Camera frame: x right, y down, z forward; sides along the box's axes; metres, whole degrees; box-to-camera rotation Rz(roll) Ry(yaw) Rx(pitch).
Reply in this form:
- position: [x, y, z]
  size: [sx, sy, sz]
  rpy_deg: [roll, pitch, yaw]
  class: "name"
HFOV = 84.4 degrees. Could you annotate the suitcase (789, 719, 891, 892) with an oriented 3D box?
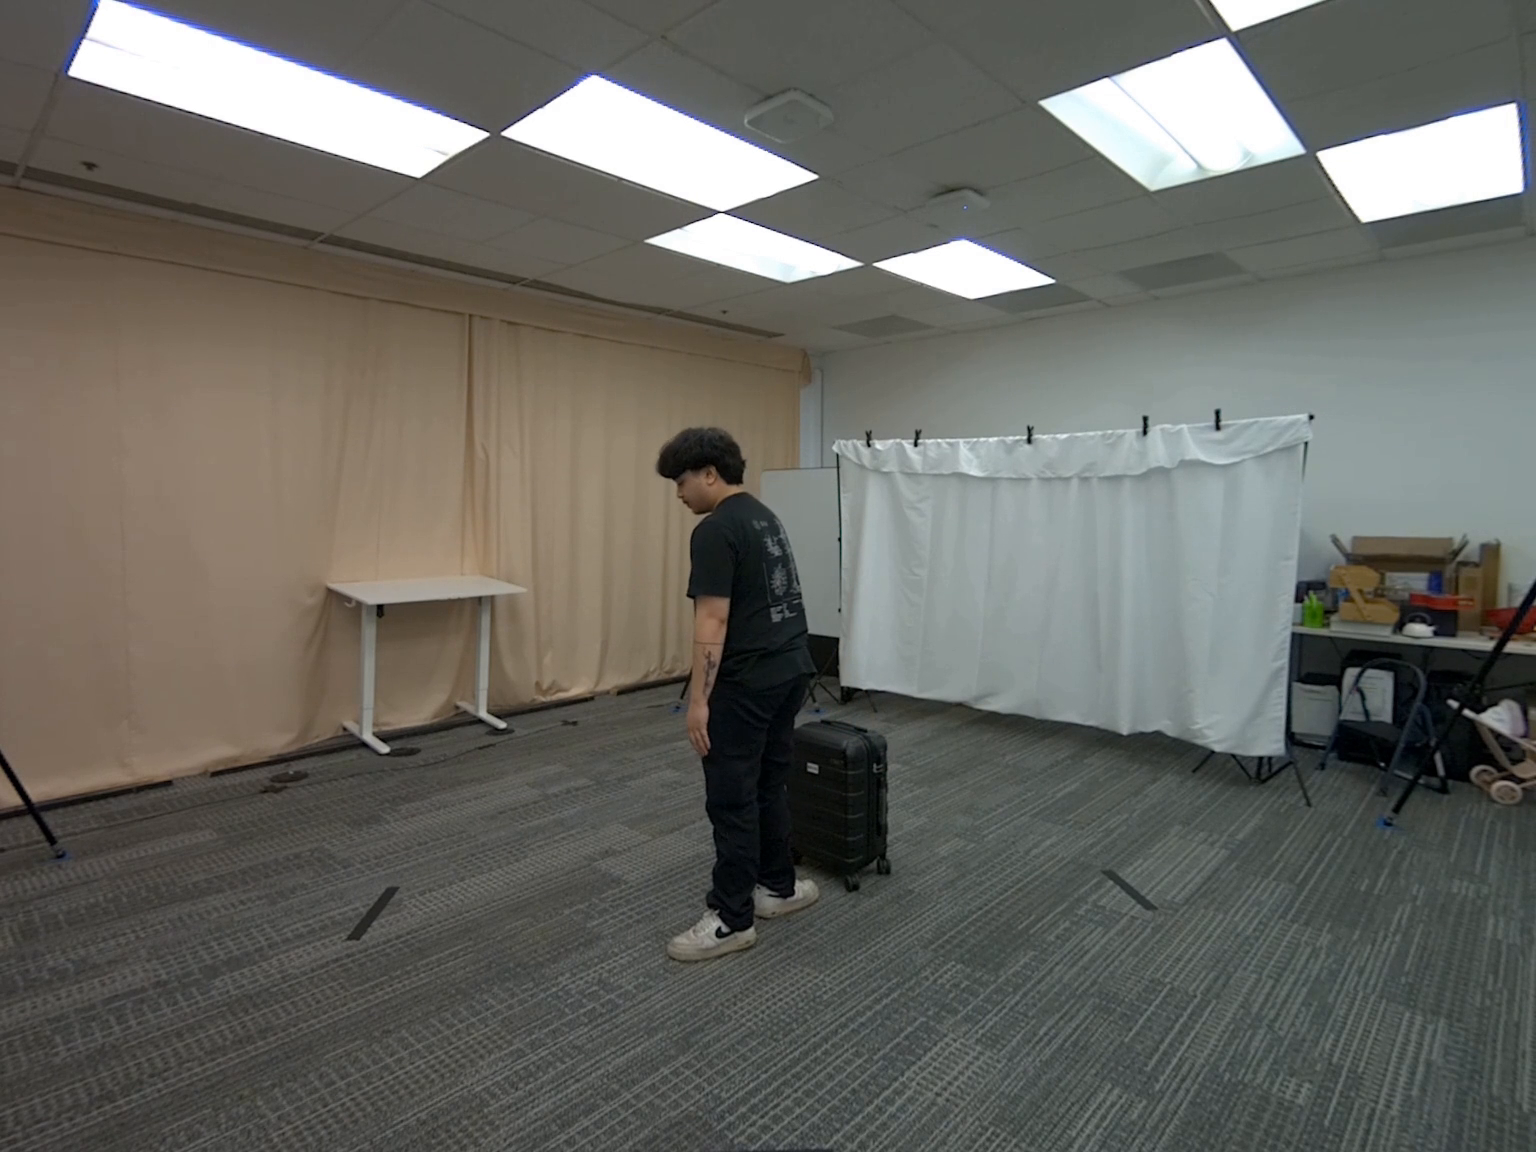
- position: [0.271, 0.844, 3.230]
  size: [0.241, 0.548, 0.388]
  rpy_deg: [-3, 4, -44]
  class: "suitcase"
